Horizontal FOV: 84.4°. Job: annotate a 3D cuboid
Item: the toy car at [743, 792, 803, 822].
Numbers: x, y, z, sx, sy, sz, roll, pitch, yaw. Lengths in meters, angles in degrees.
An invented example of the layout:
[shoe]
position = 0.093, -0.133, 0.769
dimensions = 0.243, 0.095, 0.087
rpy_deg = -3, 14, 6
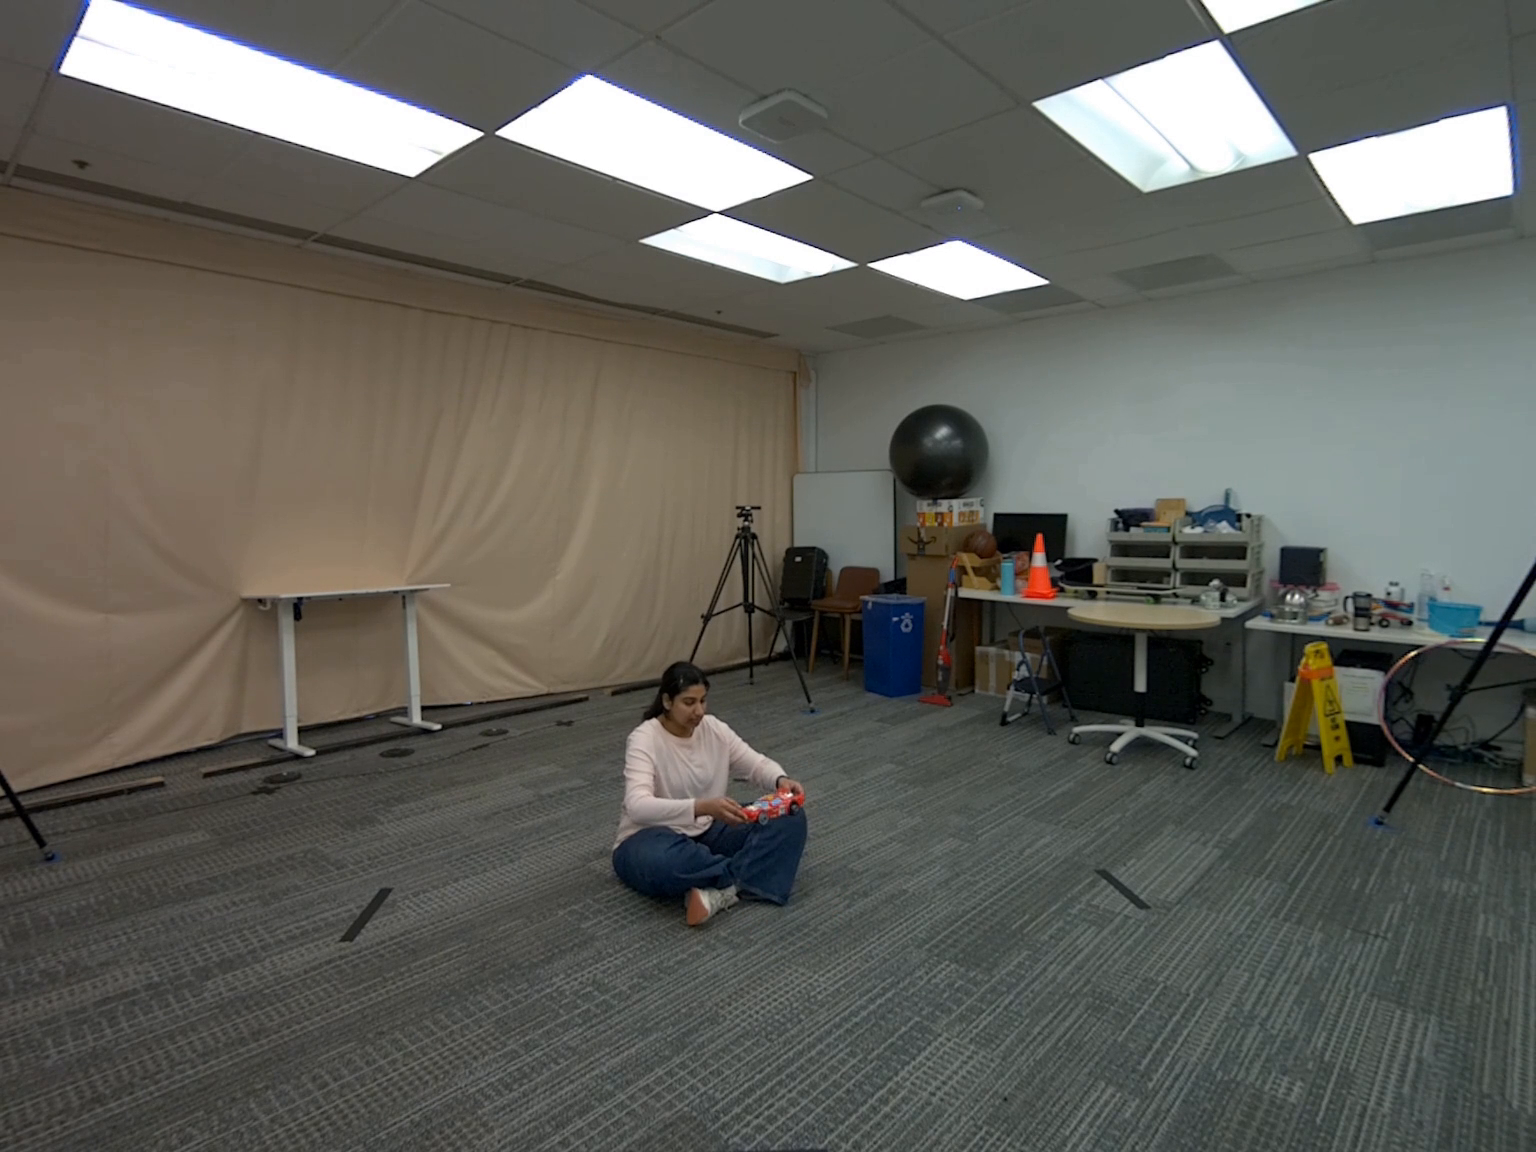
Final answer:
[toy car]
position = 0.020, 0.785, 2.827
dimensions = 0.248, 0.083, 0.133
rpy_deg = -16, 0, -42
